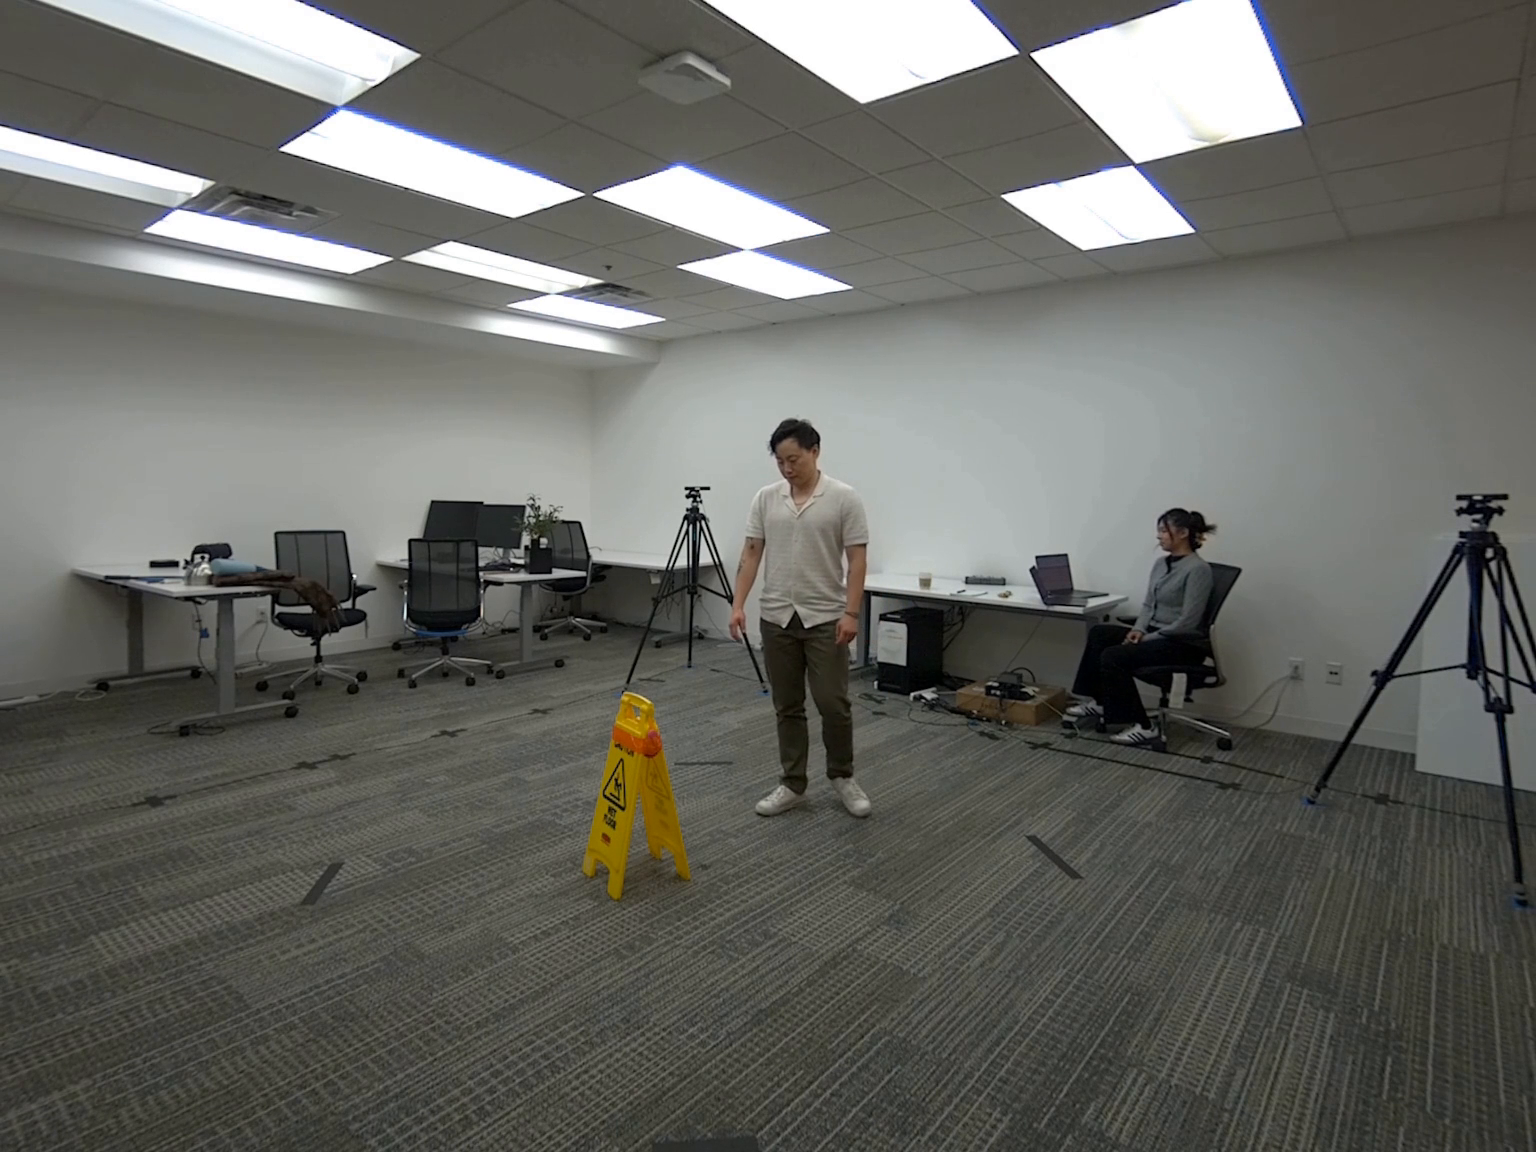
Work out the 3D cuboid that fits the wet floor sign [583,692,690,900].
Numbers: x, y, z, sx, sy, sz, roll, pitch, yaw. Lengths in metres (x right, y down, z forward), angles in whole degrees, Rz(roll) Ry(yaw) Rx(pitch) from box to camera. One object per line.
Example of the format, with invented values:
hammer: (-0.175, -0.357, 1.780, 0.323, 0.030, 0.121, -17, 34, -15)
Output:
wet floor sign: (-0.476, 0.745, 3.026, 0.281, 0.644, 0.291, -1, 4, -36)
